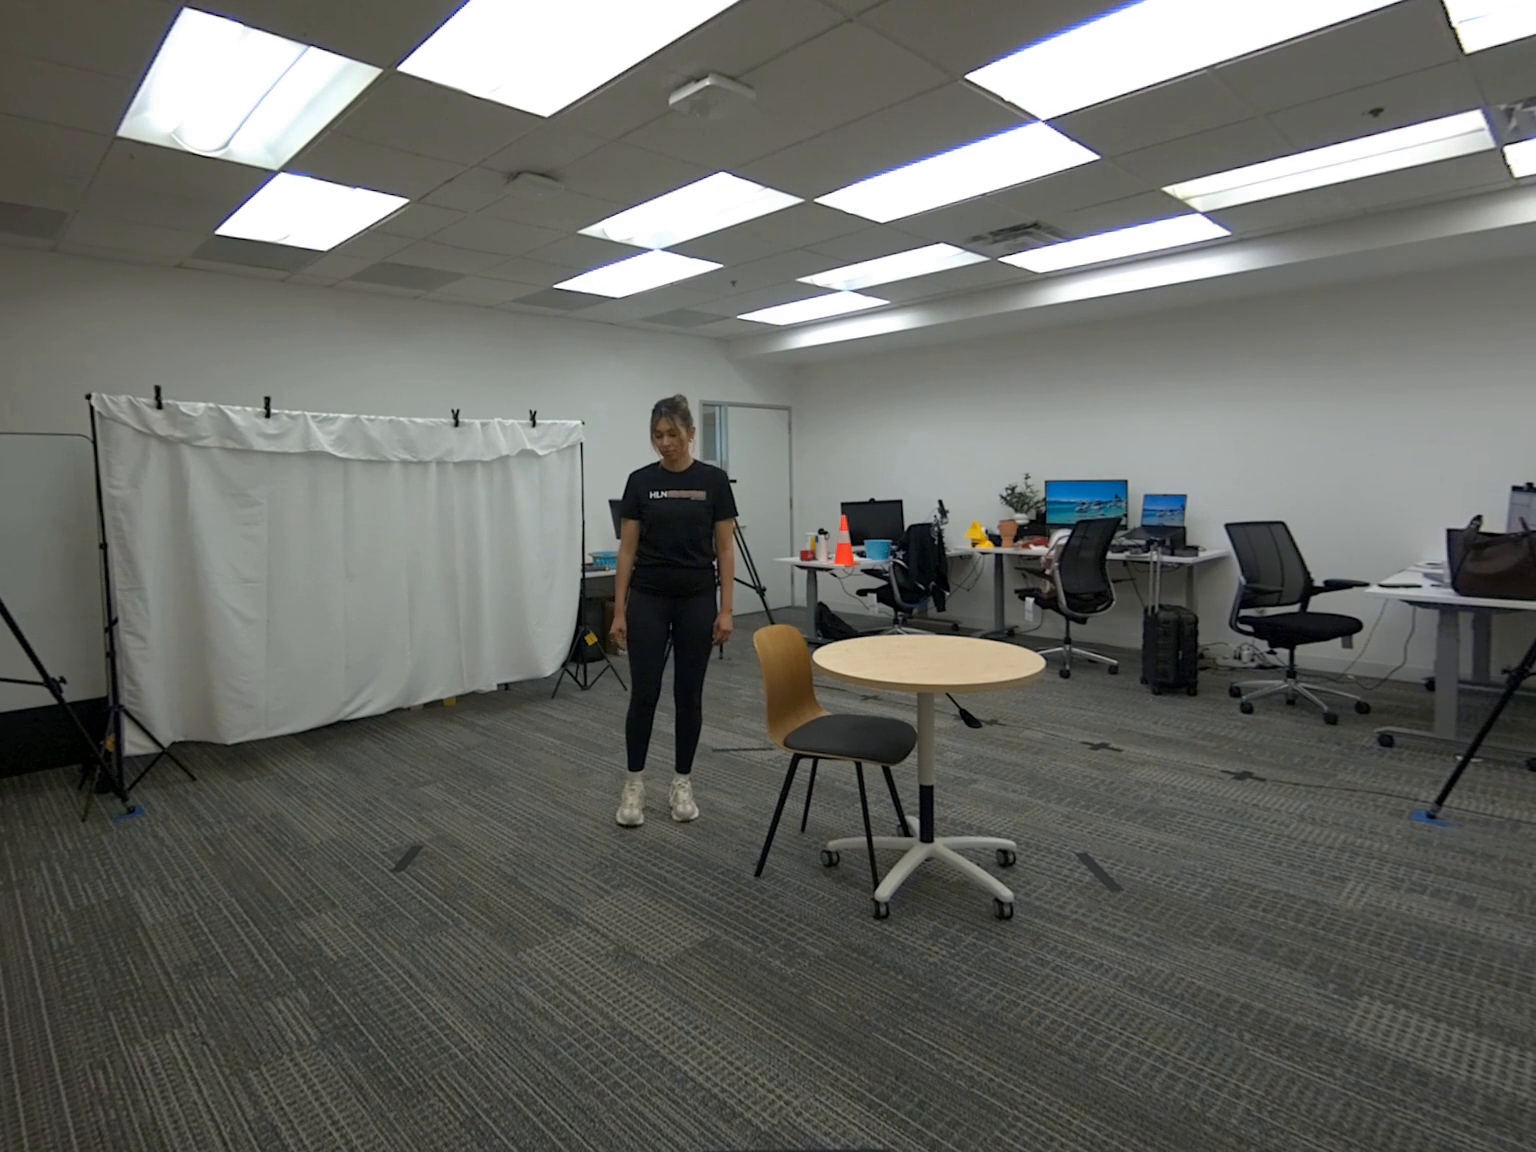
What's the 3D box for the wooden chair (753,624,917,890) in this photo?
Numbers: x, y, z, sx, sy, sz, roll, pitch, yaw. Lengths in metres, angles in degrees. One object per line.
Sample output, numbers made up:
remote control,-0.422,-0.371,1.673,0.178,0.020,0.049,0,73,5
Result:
wooden chair,0.249,0.618,3.064,0.535,0.876,0.468,-3,2,27
